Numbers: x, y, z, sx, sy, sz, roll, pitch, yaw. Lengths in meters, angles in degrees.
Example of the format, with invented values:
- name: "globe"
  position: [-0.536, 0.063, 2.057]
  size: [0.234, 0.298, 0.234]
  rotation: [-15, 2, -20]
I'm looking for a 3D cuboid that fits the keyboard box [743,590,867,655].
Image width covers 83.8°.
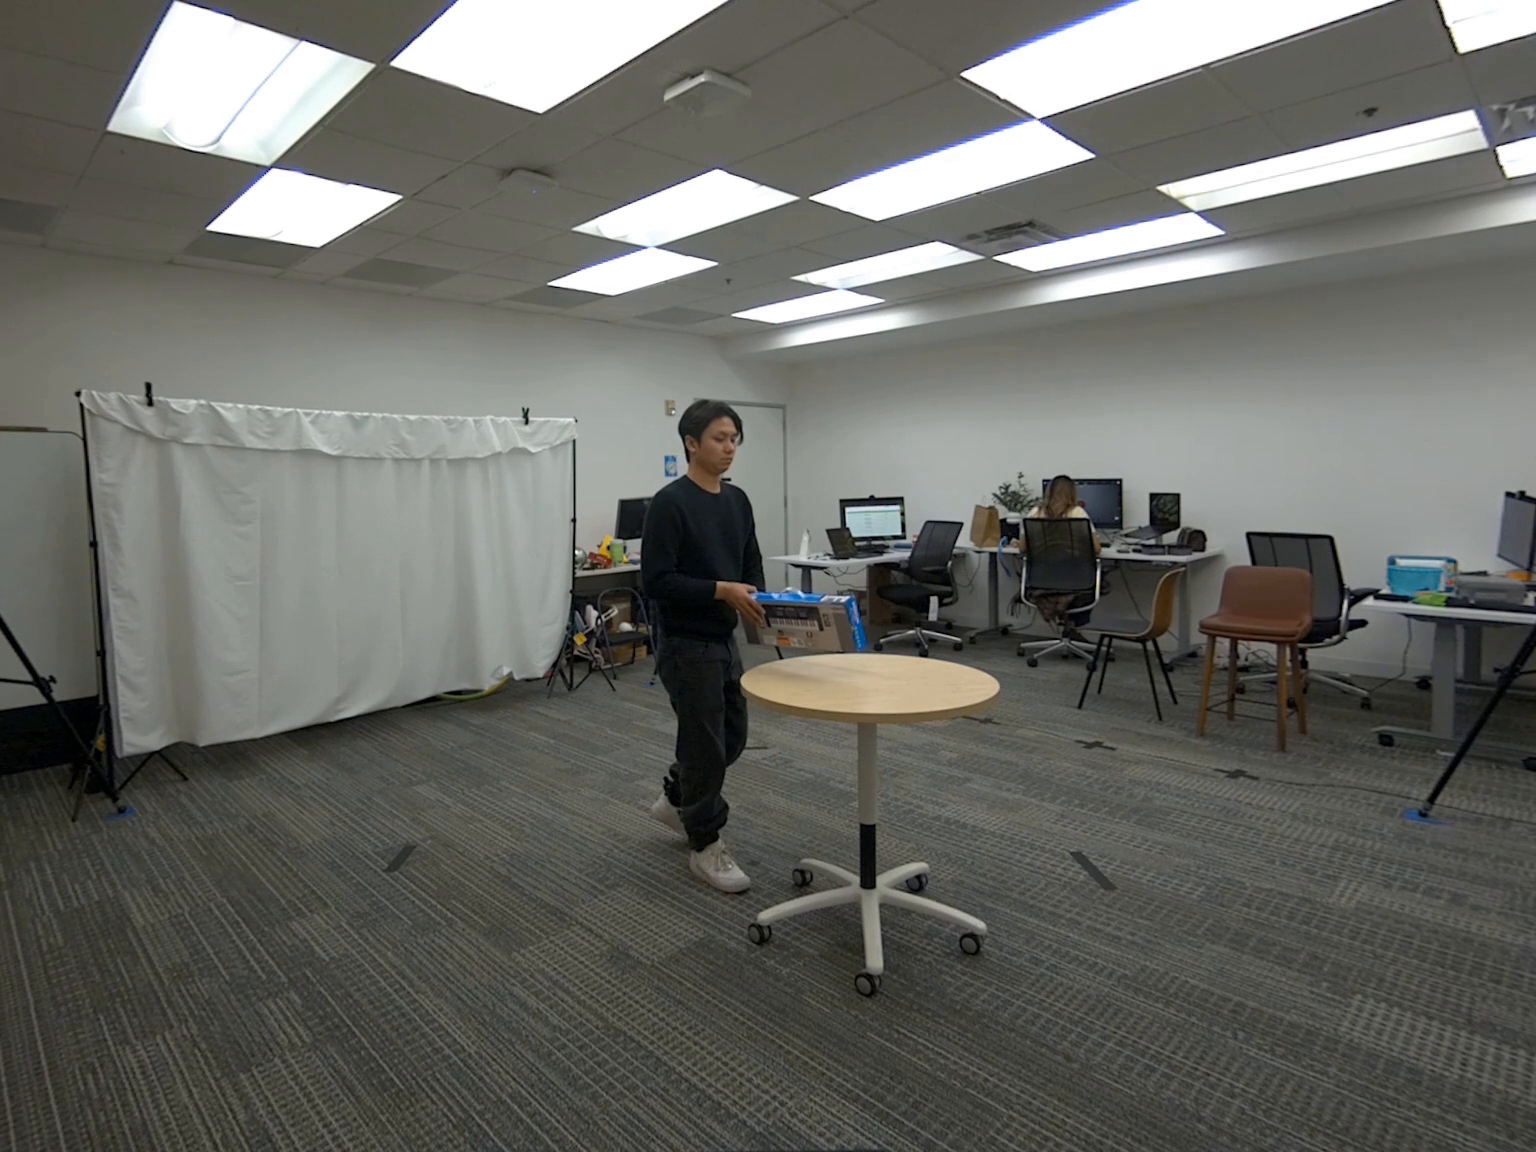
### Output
- name: "keyboard box"
  position: [0.109, 0.149, 2.765]
  size: [0.449, 0.173, 0.058]
  rotation: [0, 21, 41]
